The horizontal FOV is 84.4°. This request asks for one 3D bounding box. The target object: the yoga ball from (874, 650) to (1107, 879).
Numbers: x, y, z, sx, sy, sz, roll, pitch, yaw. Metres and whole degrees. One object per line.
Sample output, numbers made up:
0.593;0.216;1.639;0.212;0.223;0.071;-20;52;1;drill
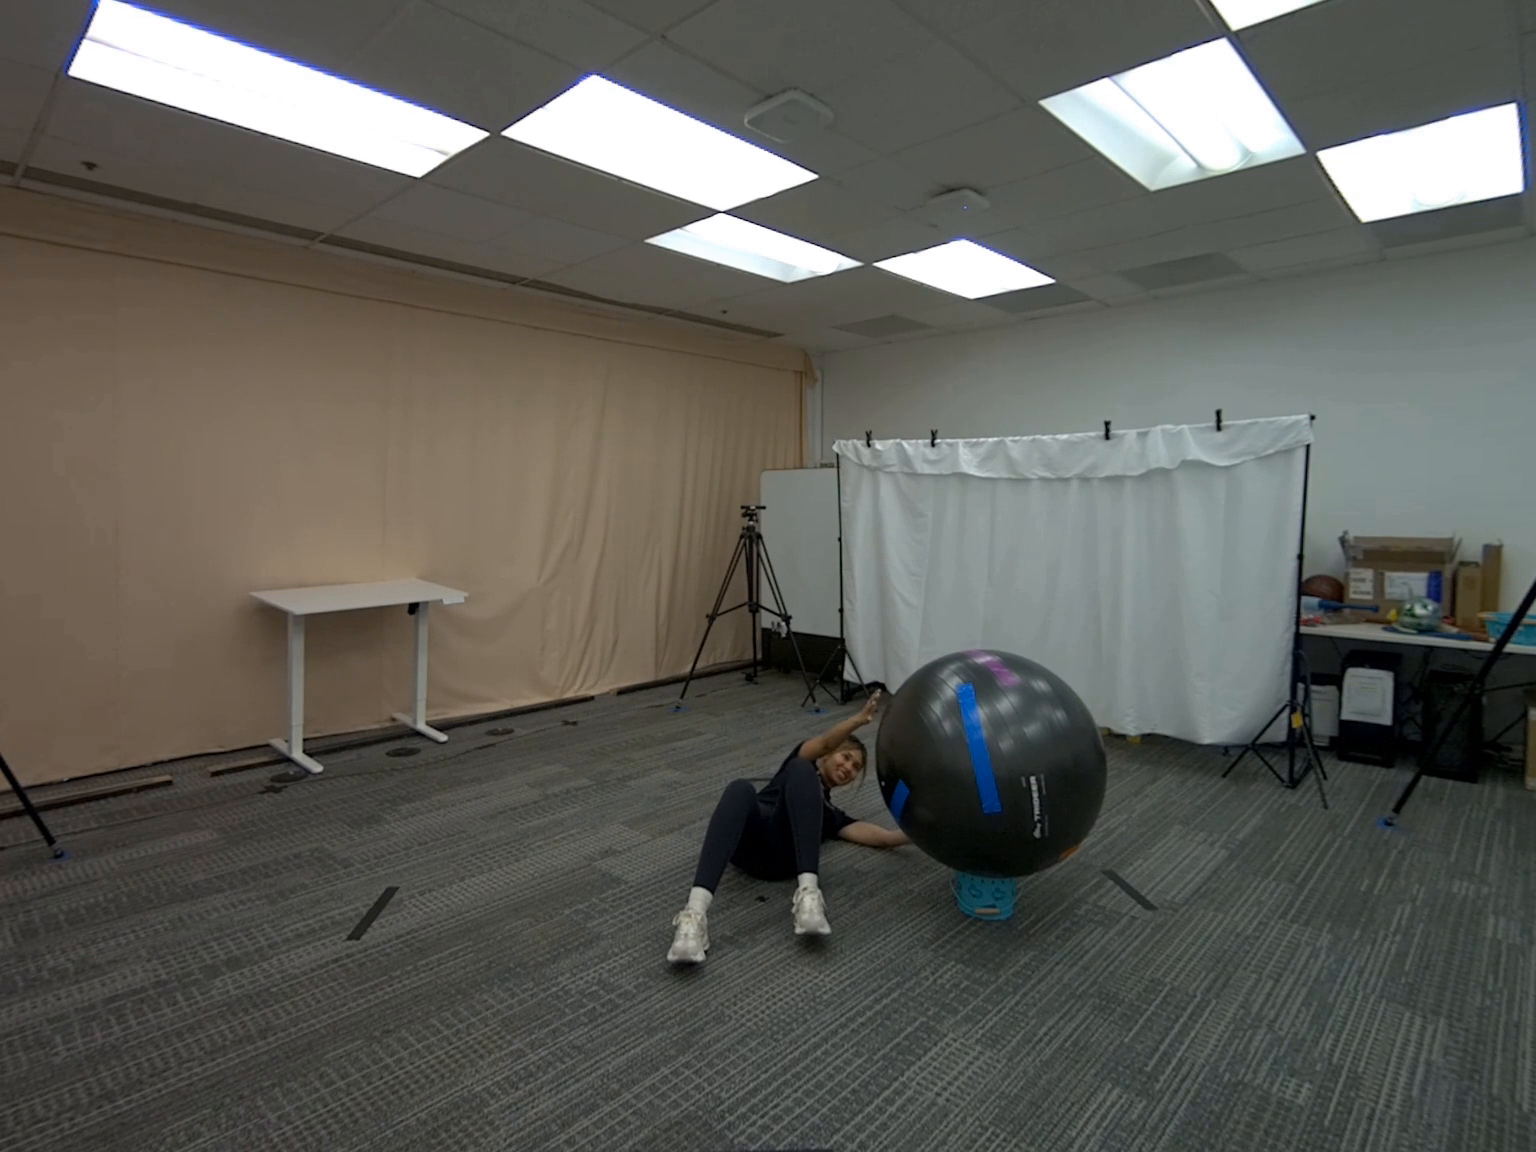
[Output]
0.759;0.640;2.901;0.757;0.756;0.760;0;4;-2;yoga ball
